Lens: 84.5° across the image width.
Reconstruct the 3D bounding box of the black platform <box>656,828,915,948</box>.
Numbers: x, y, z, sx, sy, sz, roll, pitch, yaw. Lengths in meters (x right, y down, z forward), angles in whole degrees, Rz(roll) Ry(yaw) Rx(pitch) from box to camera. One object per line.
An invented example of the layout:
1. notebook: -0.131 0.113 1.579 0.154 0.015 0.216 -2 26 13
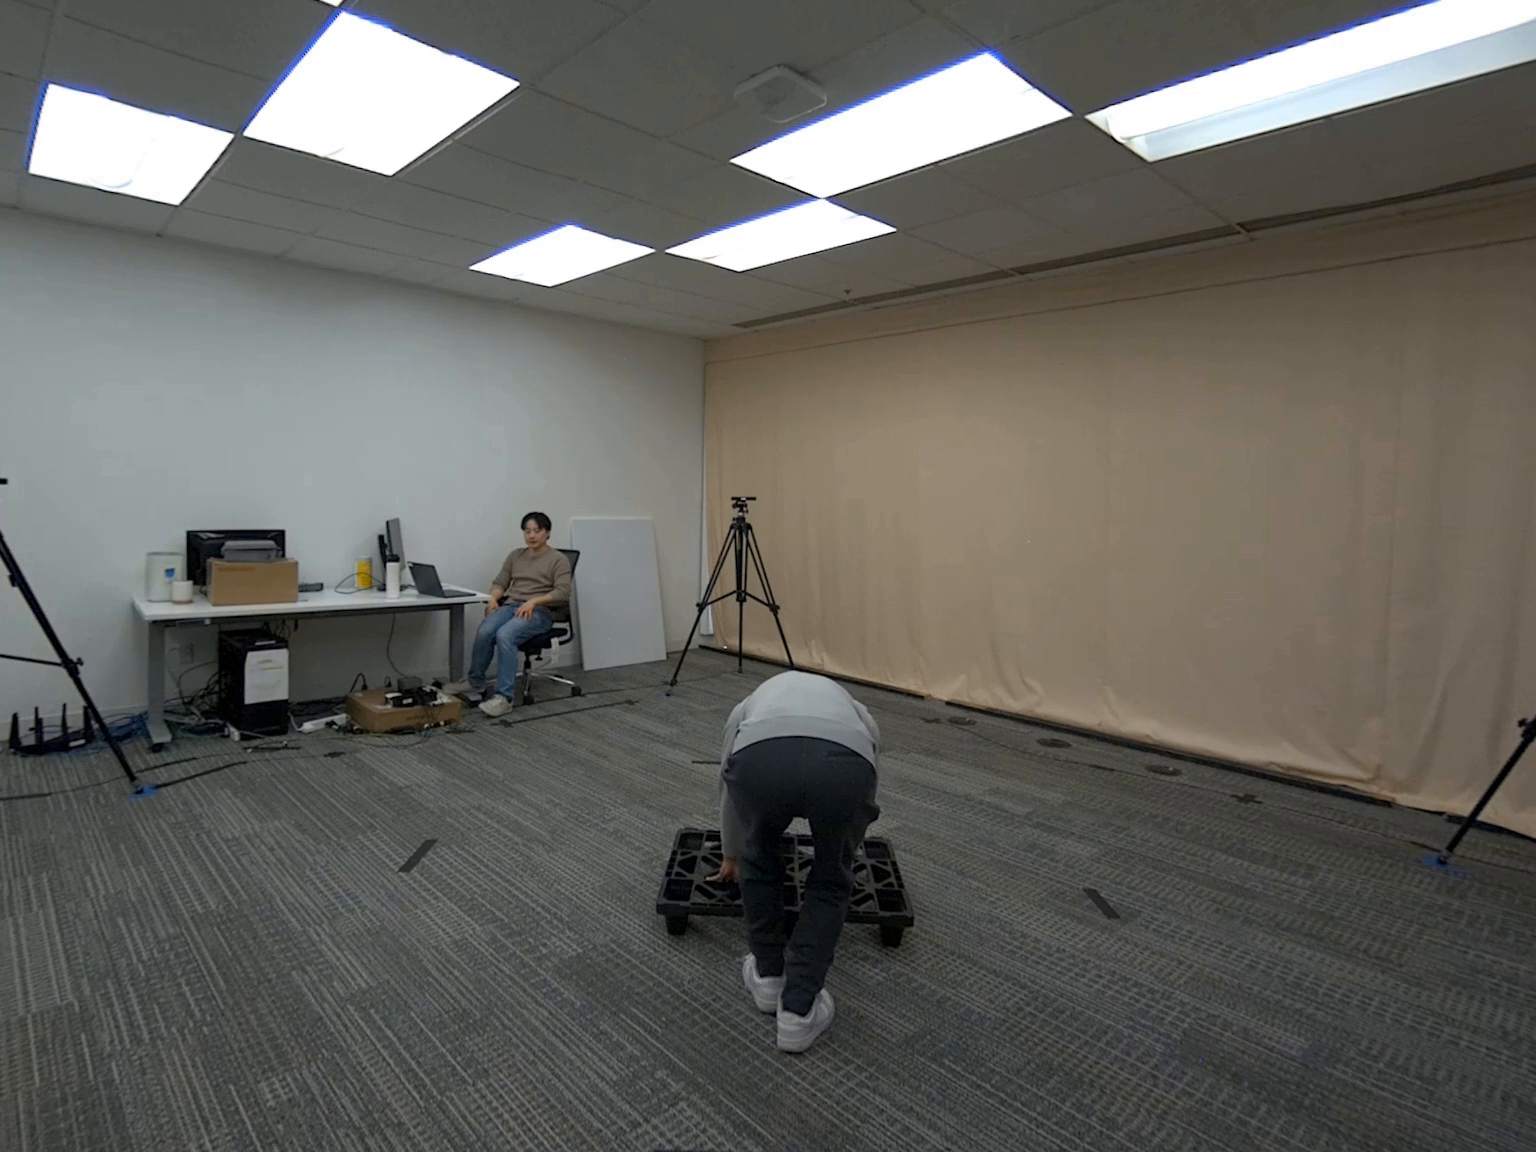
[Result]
1. black platform: 0.047 1.061 2.878 0.808 0.143 0.606 1 6 2
